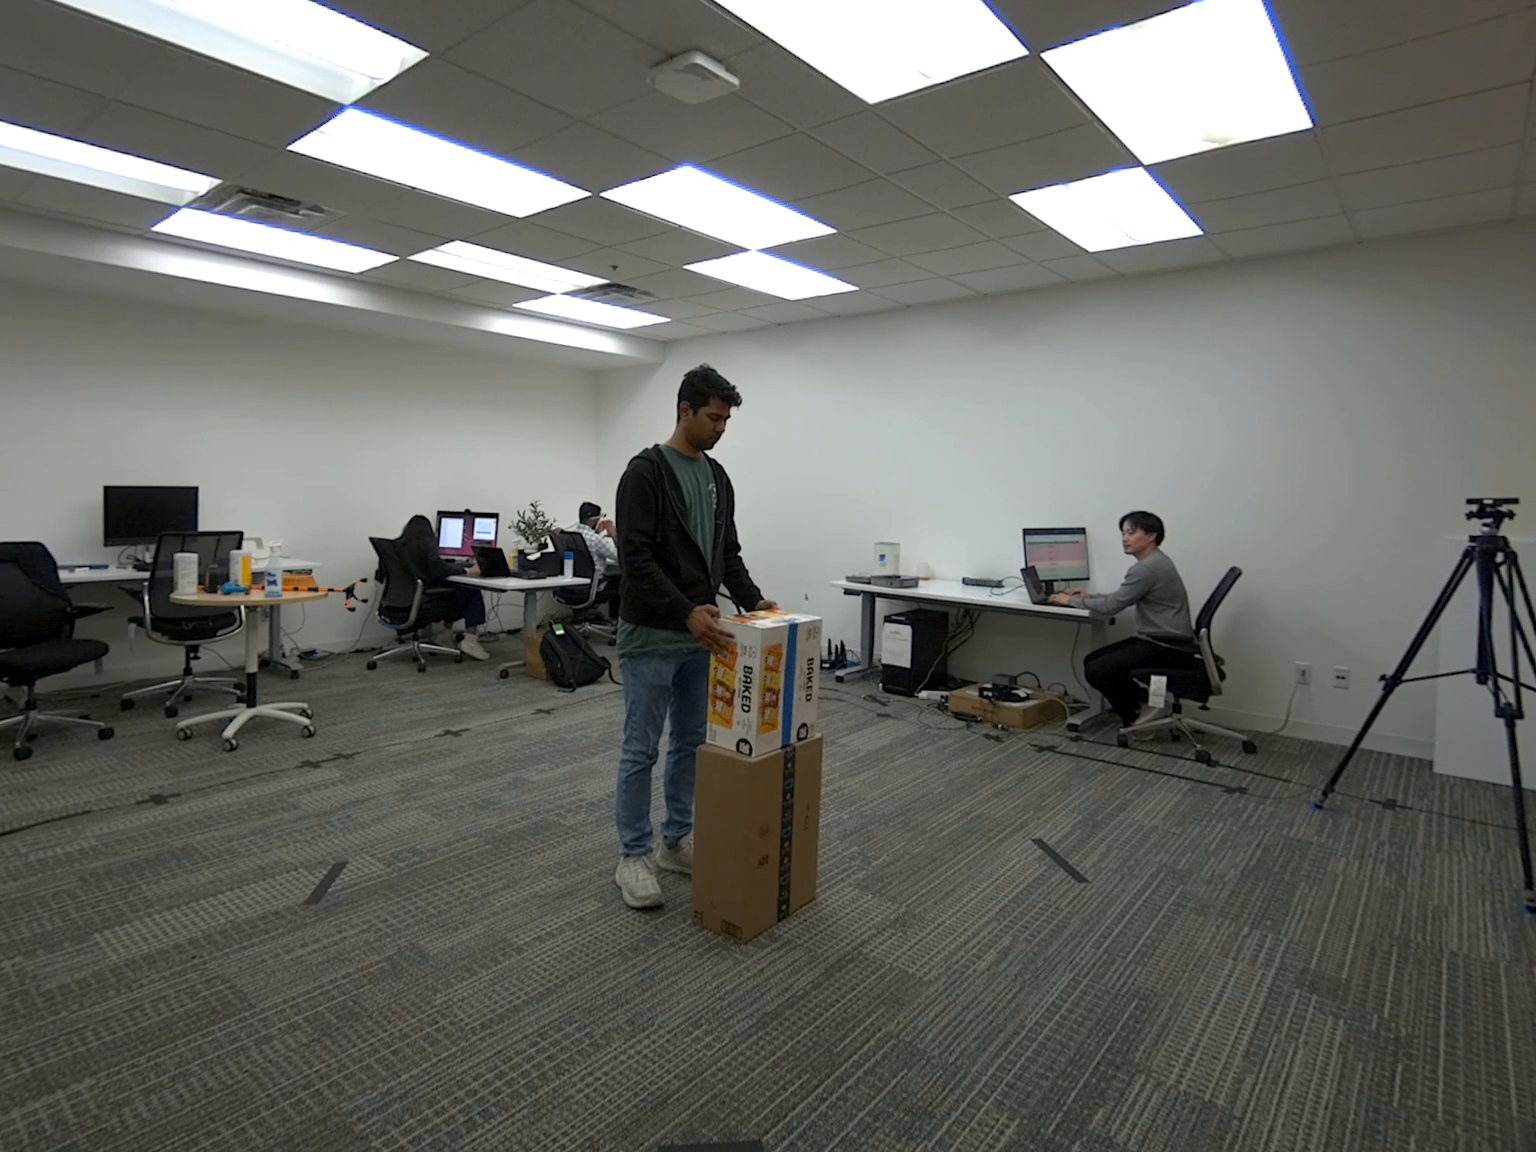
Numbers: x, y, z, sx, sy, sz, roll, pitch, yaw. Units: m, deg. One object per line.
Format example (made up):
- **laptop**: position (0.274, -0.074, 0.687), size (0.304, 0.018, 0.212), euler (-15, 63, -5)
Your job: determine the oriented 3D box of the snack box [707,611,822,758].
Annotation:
- **snack box**: position (-0.018, 0.327, 2.784), size (0.213, 0.403, 0.330), euler (7, 7, 38)
